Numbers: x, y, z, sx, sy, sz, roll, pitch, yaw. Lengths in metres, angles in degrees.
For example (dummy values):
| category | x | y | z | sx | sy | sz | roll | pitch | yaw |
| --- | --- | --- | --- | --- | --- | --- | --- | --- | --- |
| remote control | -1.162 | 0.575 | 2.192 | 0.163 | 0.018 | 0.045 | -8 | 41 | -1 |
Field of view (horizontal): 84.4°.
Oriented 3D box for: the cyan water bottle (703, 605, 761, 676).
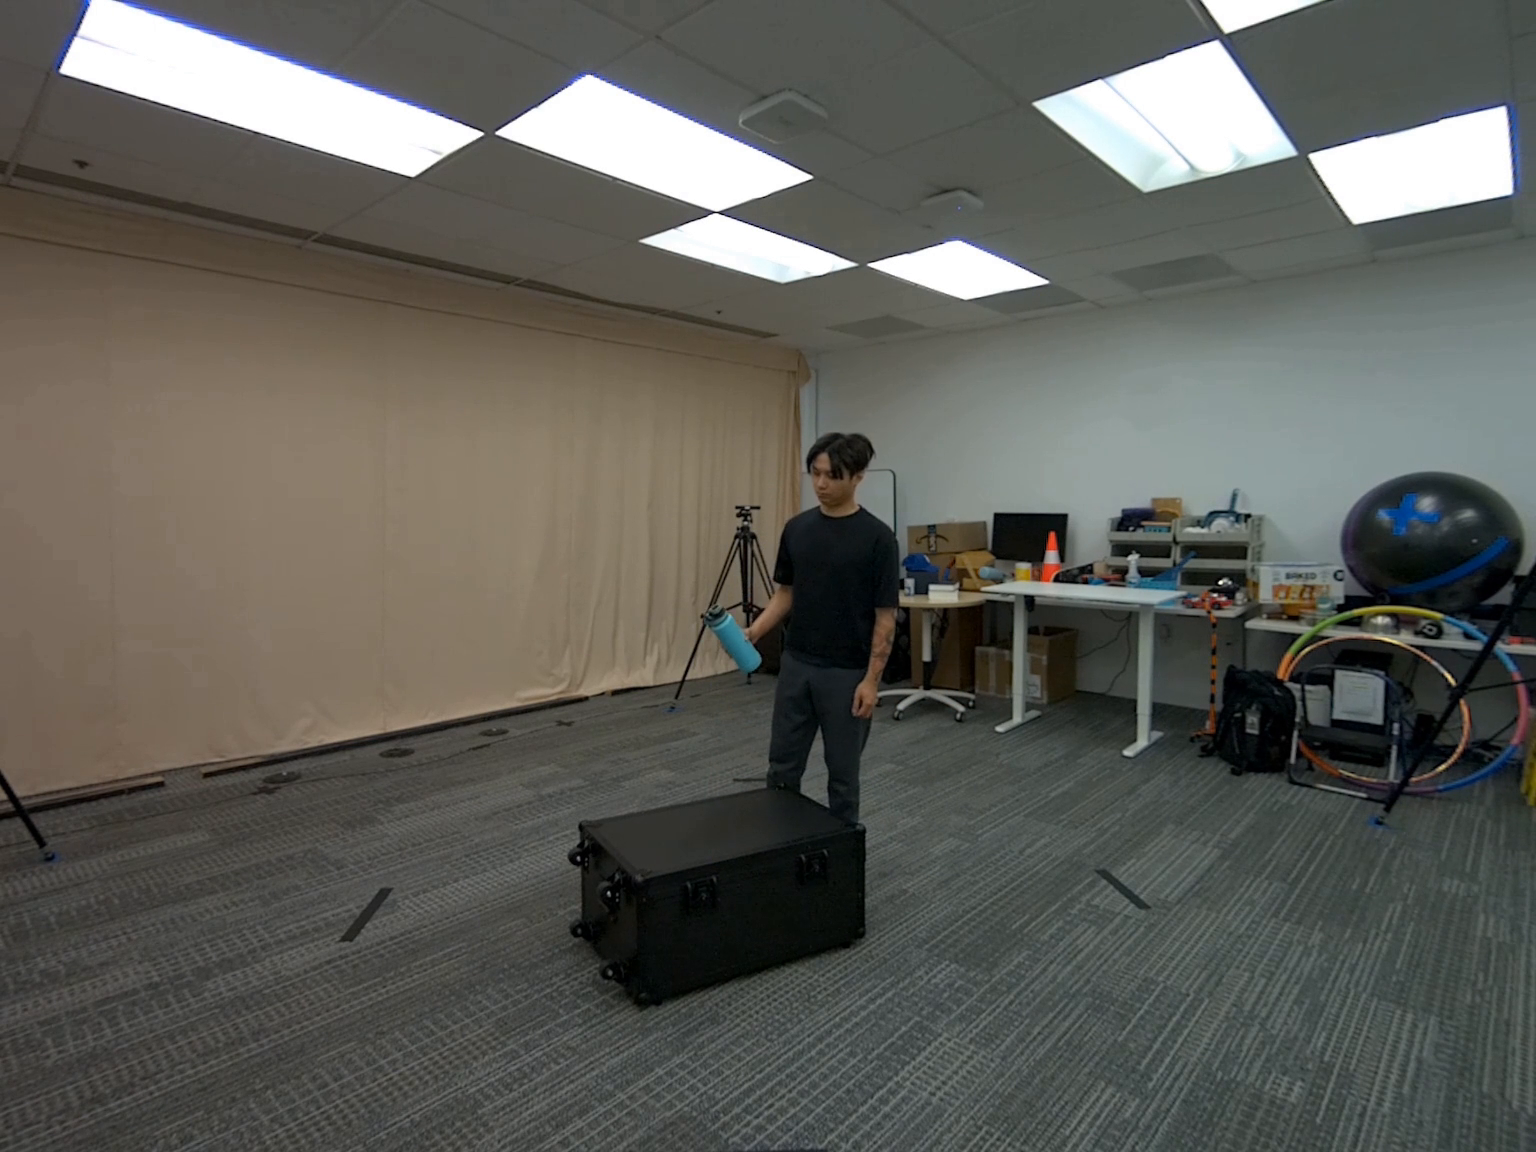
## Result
| category | x | y | z | sx | sy | sz | roll | pitch | yaw |
| --- | --- | --- | --- | --- | --- | --- | --- | --- | --- |
| cyan water bottle | -0.131 | 0.230 | 3.100 | 0.093 | 0.277 | 0.093 | -31 | 20 | 12 |
